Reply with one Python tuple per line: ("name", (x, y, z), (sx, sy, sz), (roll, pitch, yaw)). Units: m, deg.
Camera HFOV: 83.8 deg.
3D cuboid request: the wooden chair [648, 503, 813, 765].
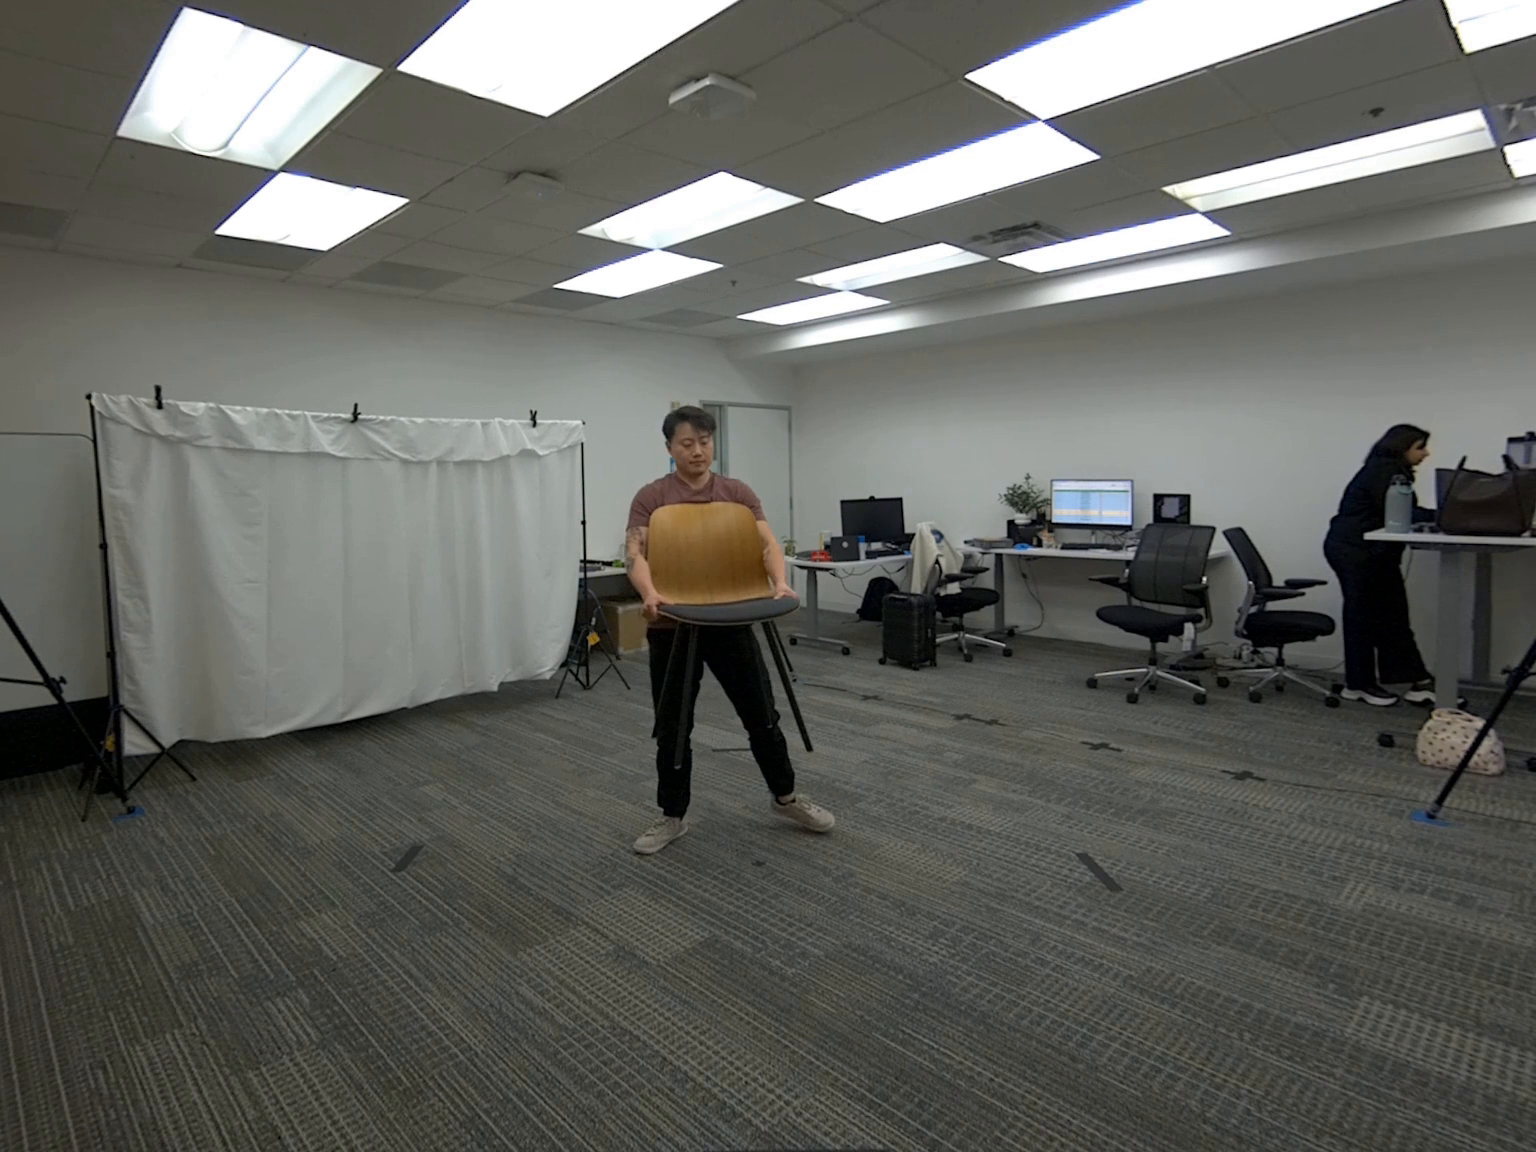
("wooden chair", (-0.138, 0.160, 2.906), (0.471, 0.881, 0.528), (-3, -4, -16))
